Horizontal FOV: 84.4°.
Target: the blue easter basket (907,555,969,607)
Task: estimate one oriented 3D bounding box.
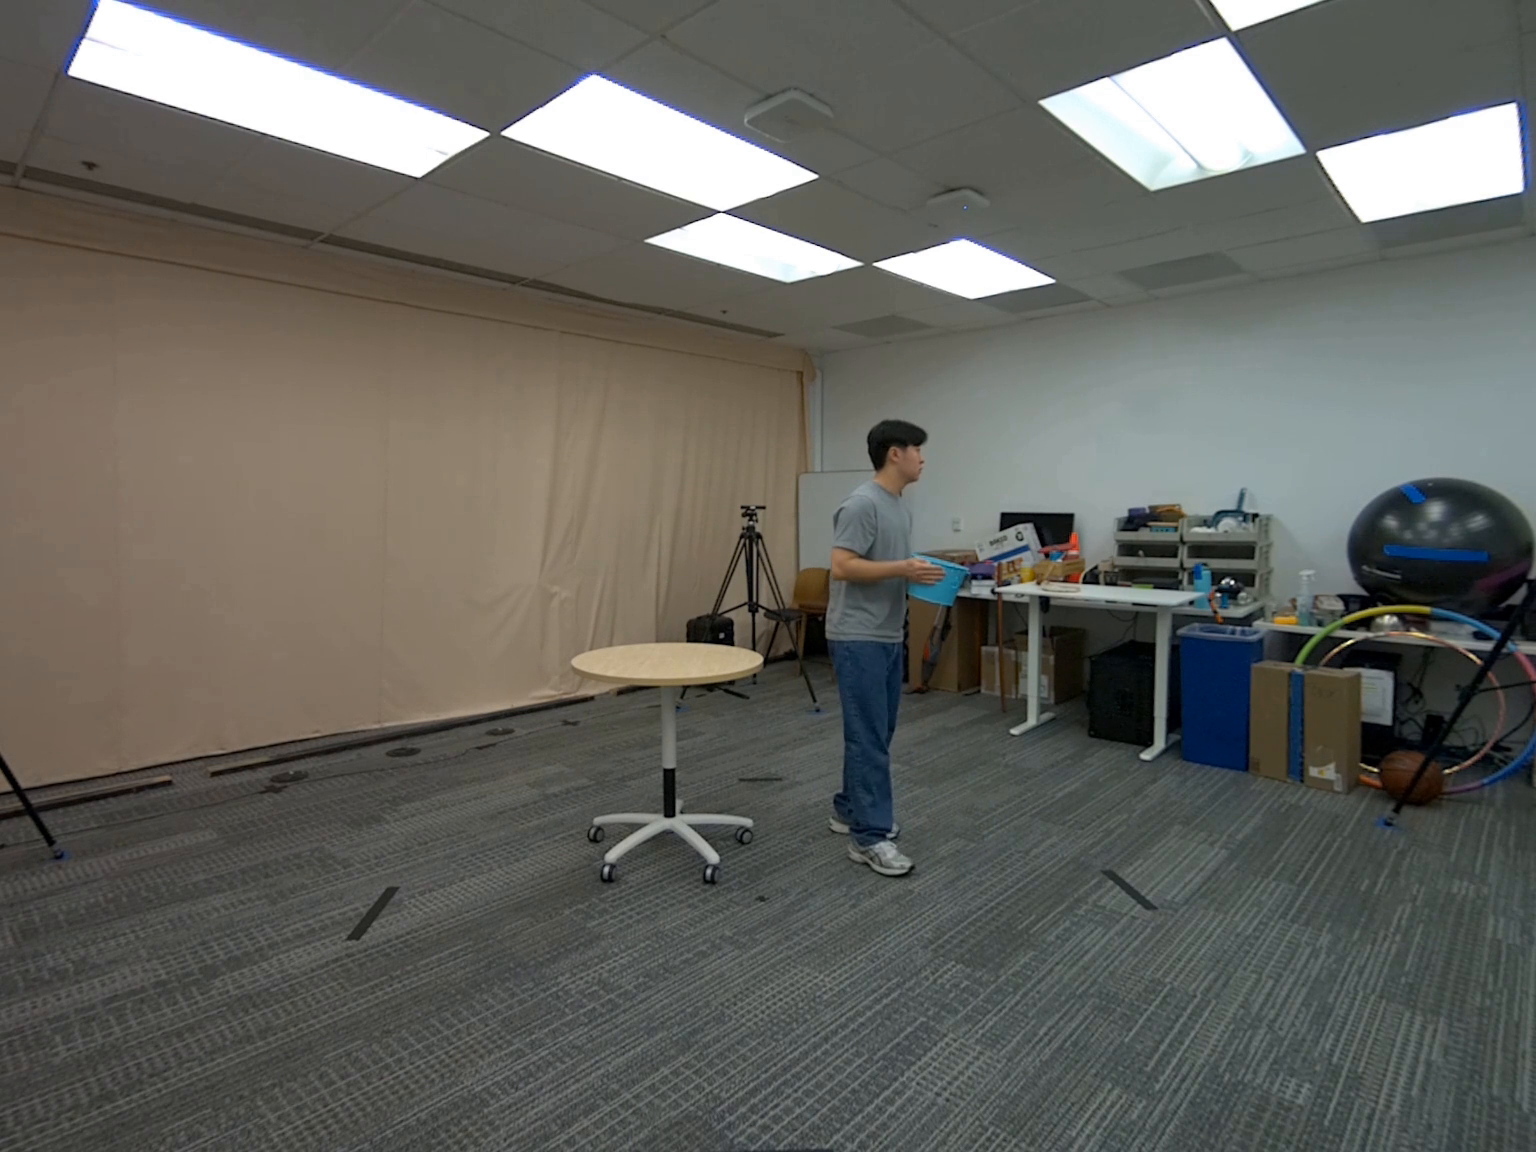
[{"bbox_3d":[0.657,0.015,3.309,0.243,0.155,0.245,12,5,-3],"label":"blue easter basket"}]
